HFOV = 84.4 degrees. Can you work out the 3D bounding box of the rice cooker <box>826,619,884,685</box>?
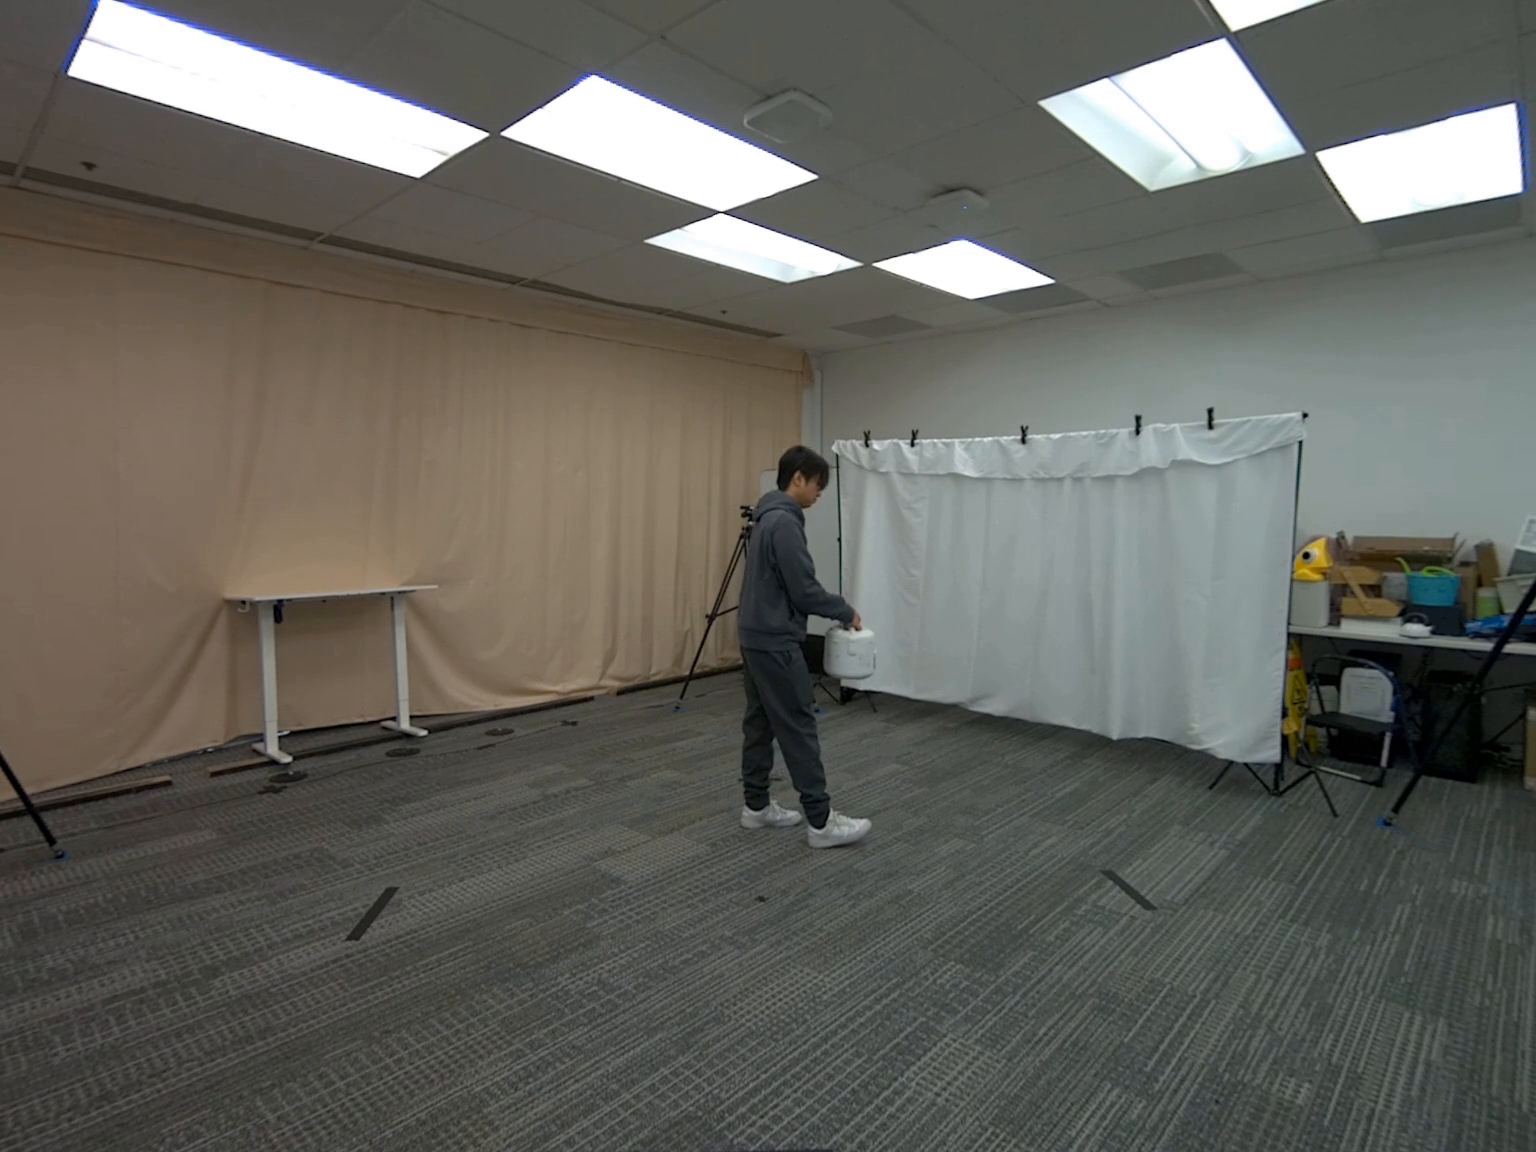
[{"bbox_3d":[0.363,0.317,3.599,0.218,0.232,0.220,1,3,2],"label":"rice cooker"}]
